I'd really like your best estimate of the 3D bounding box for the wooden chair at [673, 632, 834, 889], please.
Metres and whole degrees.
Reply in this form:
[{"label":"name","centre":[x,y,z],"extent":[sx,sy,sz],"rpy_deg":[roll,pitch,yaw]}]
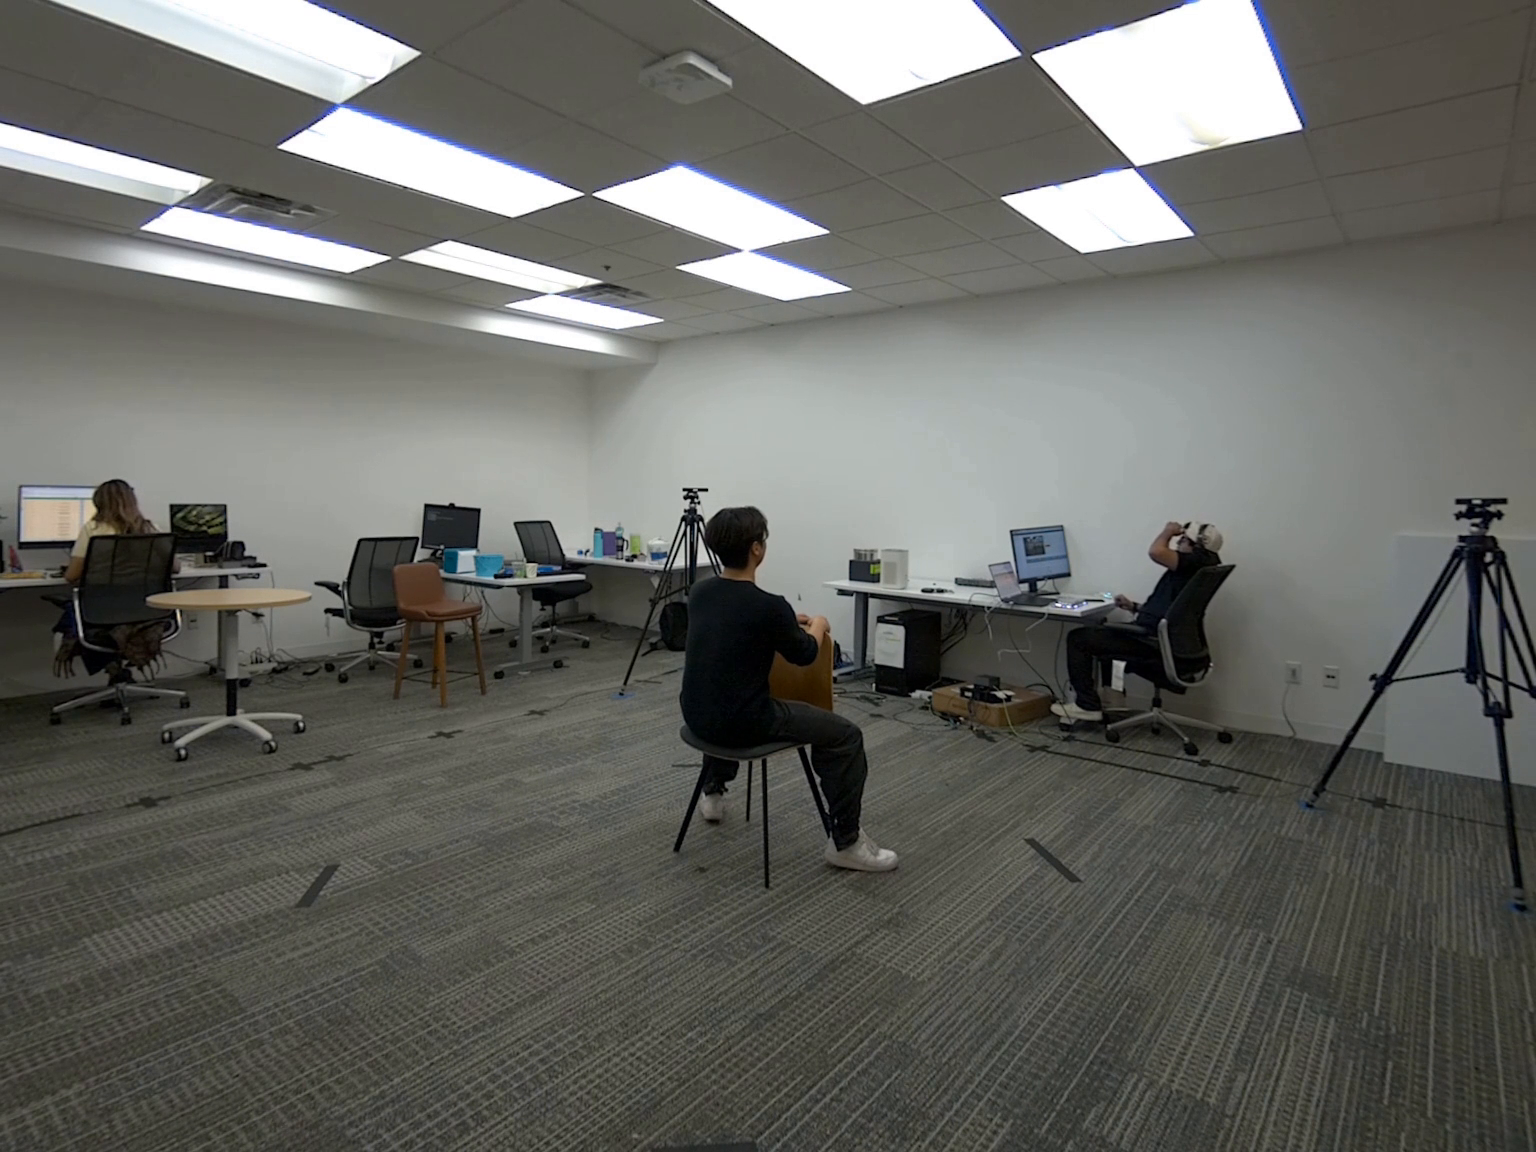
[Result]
[{"label":"wooden chair","centre":[-0.051,0.626,3.242],"extent":[0.494,0.877,0.506],"rpy_deg":[4,1,40]}]
